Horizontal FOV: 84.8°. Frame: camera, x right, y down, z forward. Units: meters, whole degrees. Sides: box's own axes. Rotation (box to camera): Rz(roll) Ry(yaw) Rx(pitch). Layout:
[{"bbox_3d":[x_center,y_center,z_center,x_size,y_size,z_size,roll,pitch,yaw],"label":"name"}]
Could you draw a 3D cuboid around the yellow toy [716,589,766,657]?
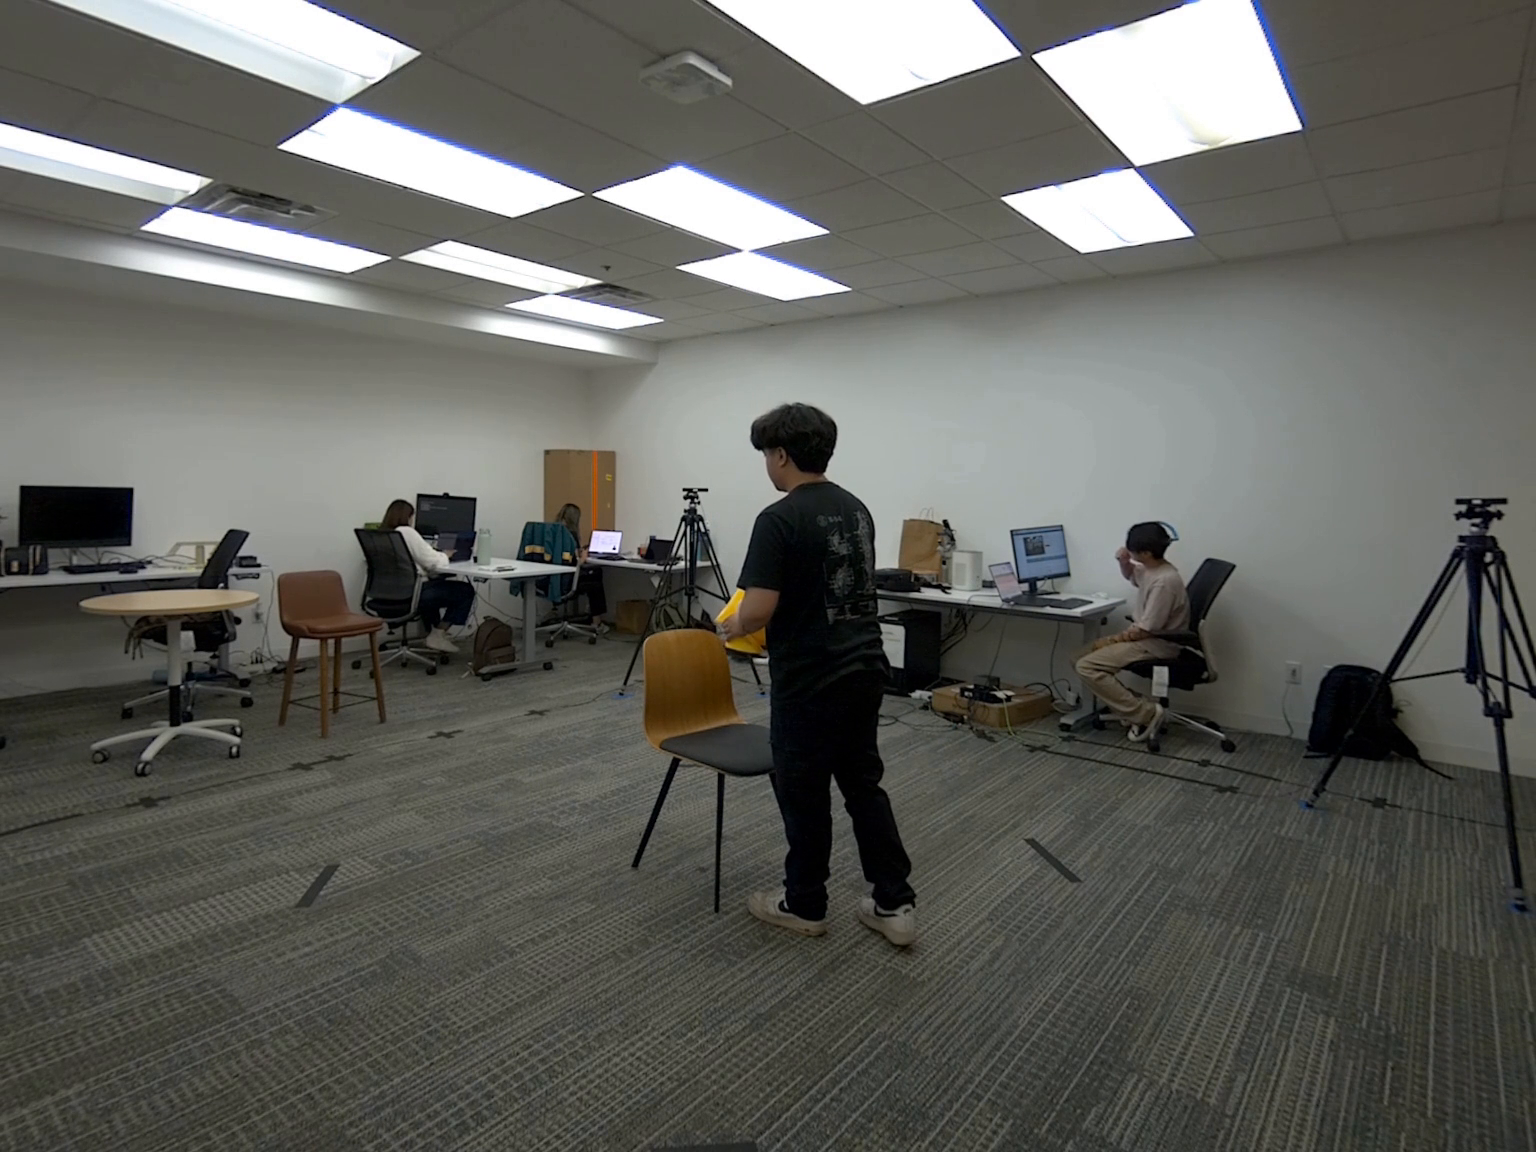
[{"bbox_3d":[-0.046,0.128,2.883,0.200,0.230,0.198,8,4,43],"label":"yellow toy"}]
